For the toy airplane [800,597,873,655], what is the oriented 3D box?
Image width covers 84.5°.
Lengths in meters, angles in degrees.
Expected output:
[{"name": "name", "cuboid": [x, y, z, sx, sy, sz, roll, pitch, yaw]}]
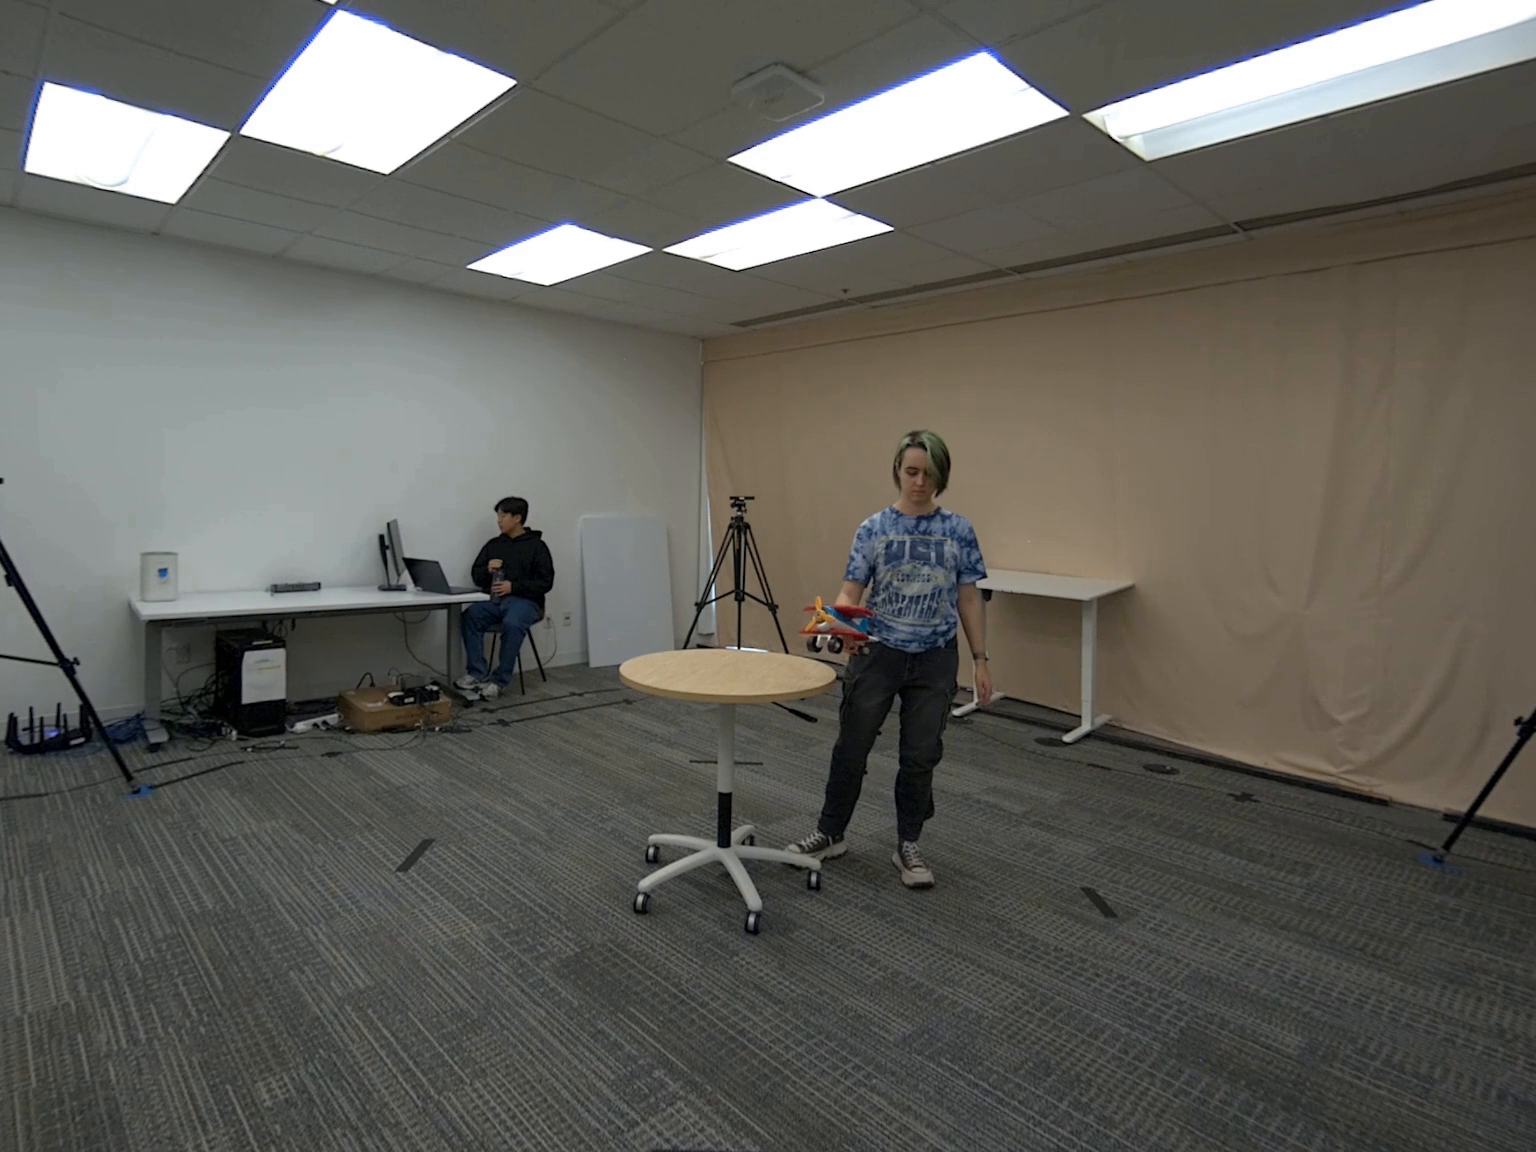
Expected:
[{"name": "toy airplane", "cuboid": [0.215, 0.177, 2.730, 0.254, 0.157, 0.255, 1, -6, 15]}]
